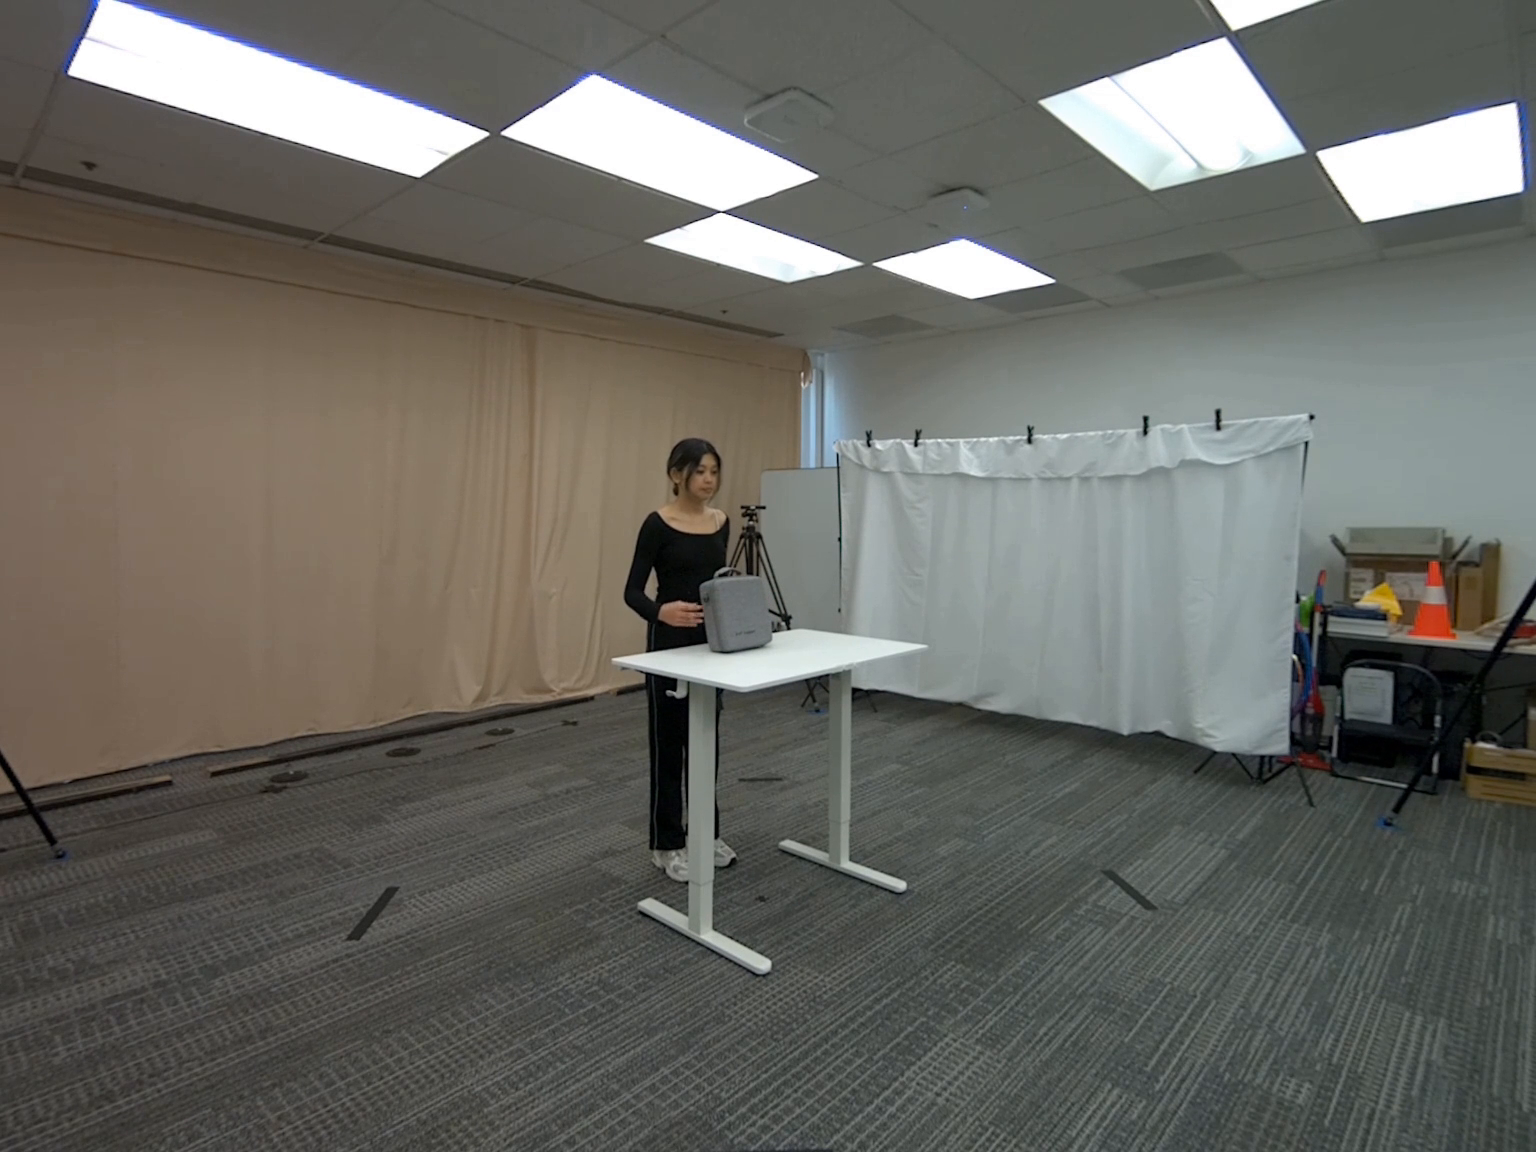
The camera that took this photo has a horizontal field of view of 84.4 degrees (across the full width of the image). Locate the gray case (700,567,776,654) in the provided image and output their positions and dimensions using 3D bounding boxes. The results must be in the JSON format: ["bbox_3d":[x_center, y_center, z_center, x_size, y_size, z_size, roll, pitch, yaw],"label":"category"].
[{"bbox_3d":[-0.111,0.129,2.986,0.107,0.262,0.249,-13,-7,43],"label":"gray case"}]
